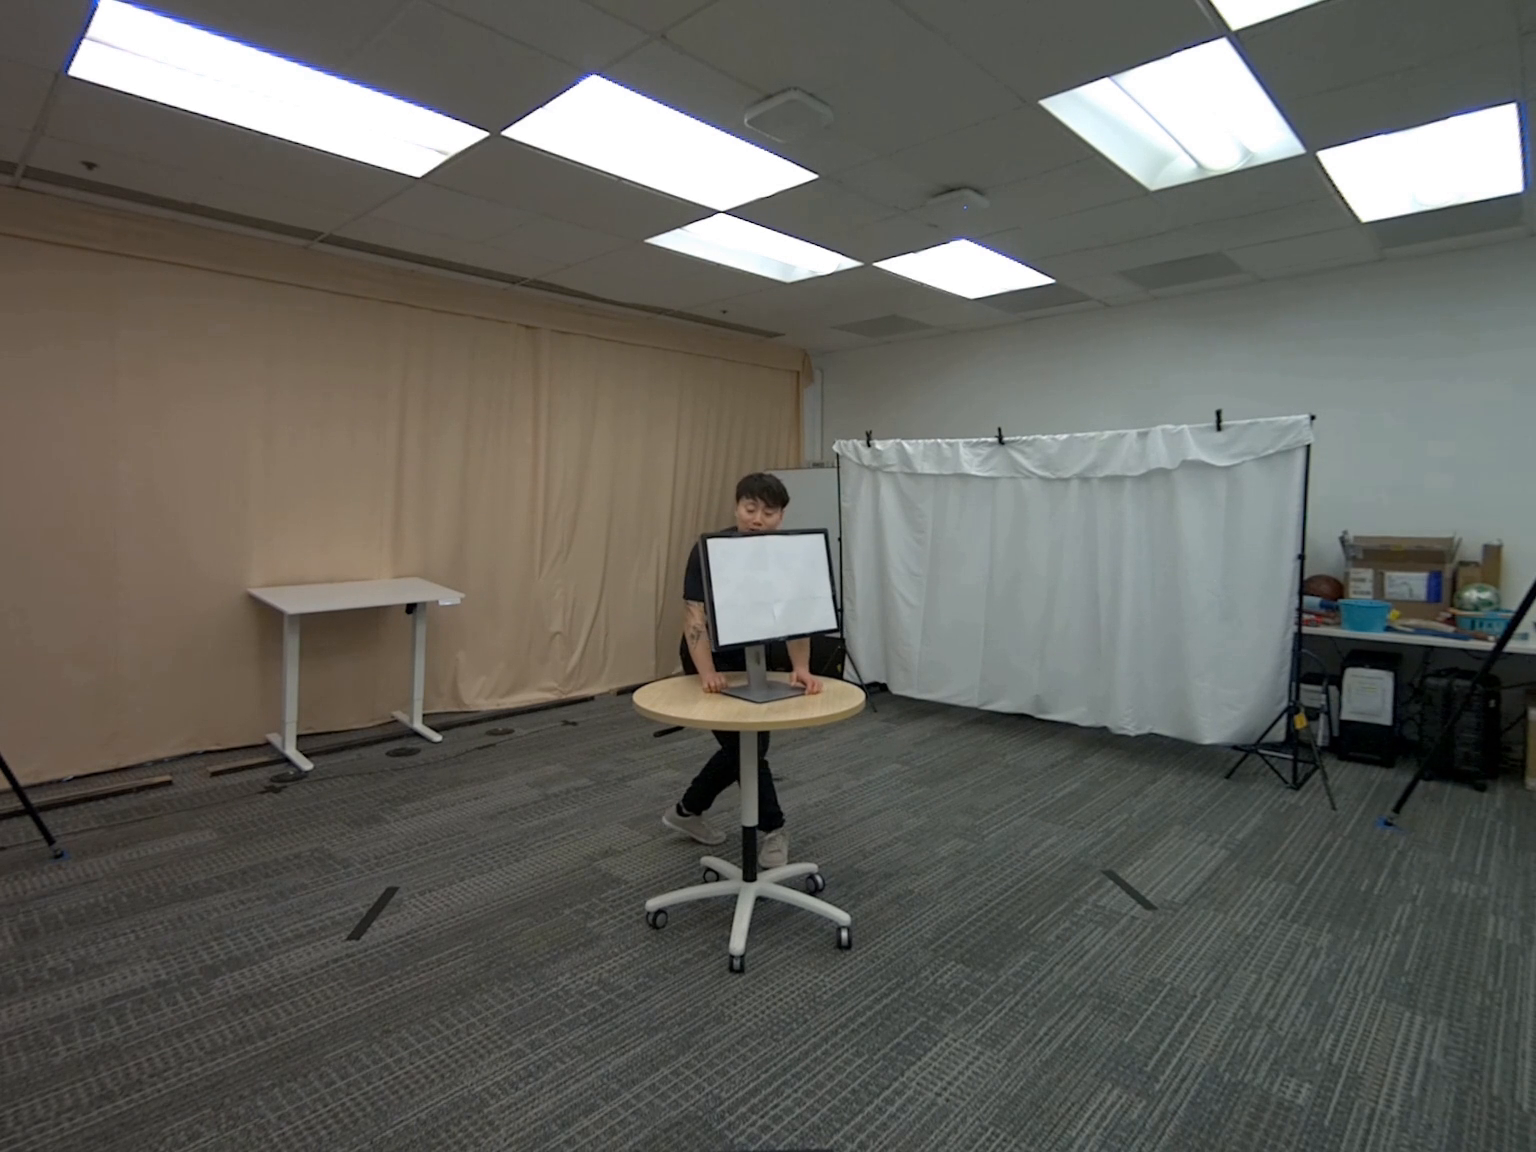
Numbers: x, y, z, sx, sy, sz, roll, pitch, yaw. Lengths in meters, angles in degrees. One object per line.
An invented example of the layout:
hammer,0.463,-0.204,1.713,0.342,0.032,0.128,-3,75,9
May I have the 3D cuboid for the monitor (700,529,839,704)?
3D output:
monitor,-0.005,0.121,2.774,0.523,0.521,0.193,-5,8,-44
